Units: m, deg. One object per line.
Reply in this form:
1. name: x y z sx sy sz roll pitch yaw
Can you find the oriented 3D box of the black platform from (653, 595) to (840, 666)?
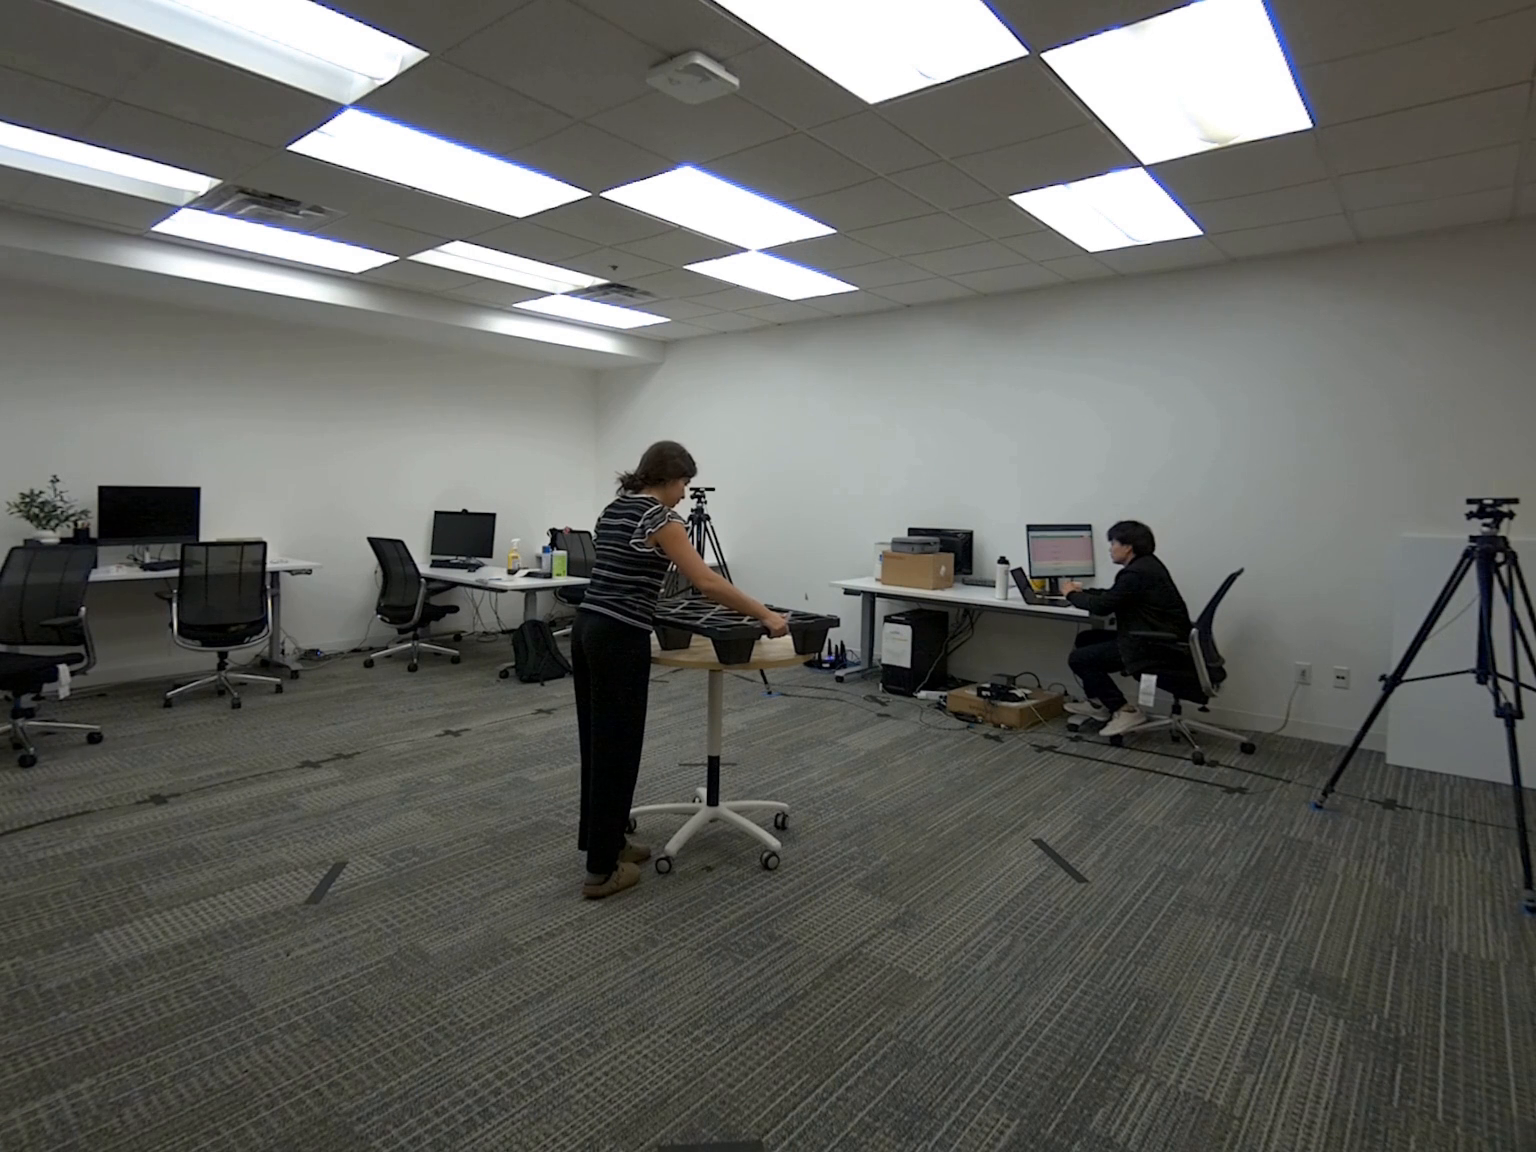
1. black platform: -0.230 0.196 3.312 0.587 0.143 0.833 -2 7 -41
